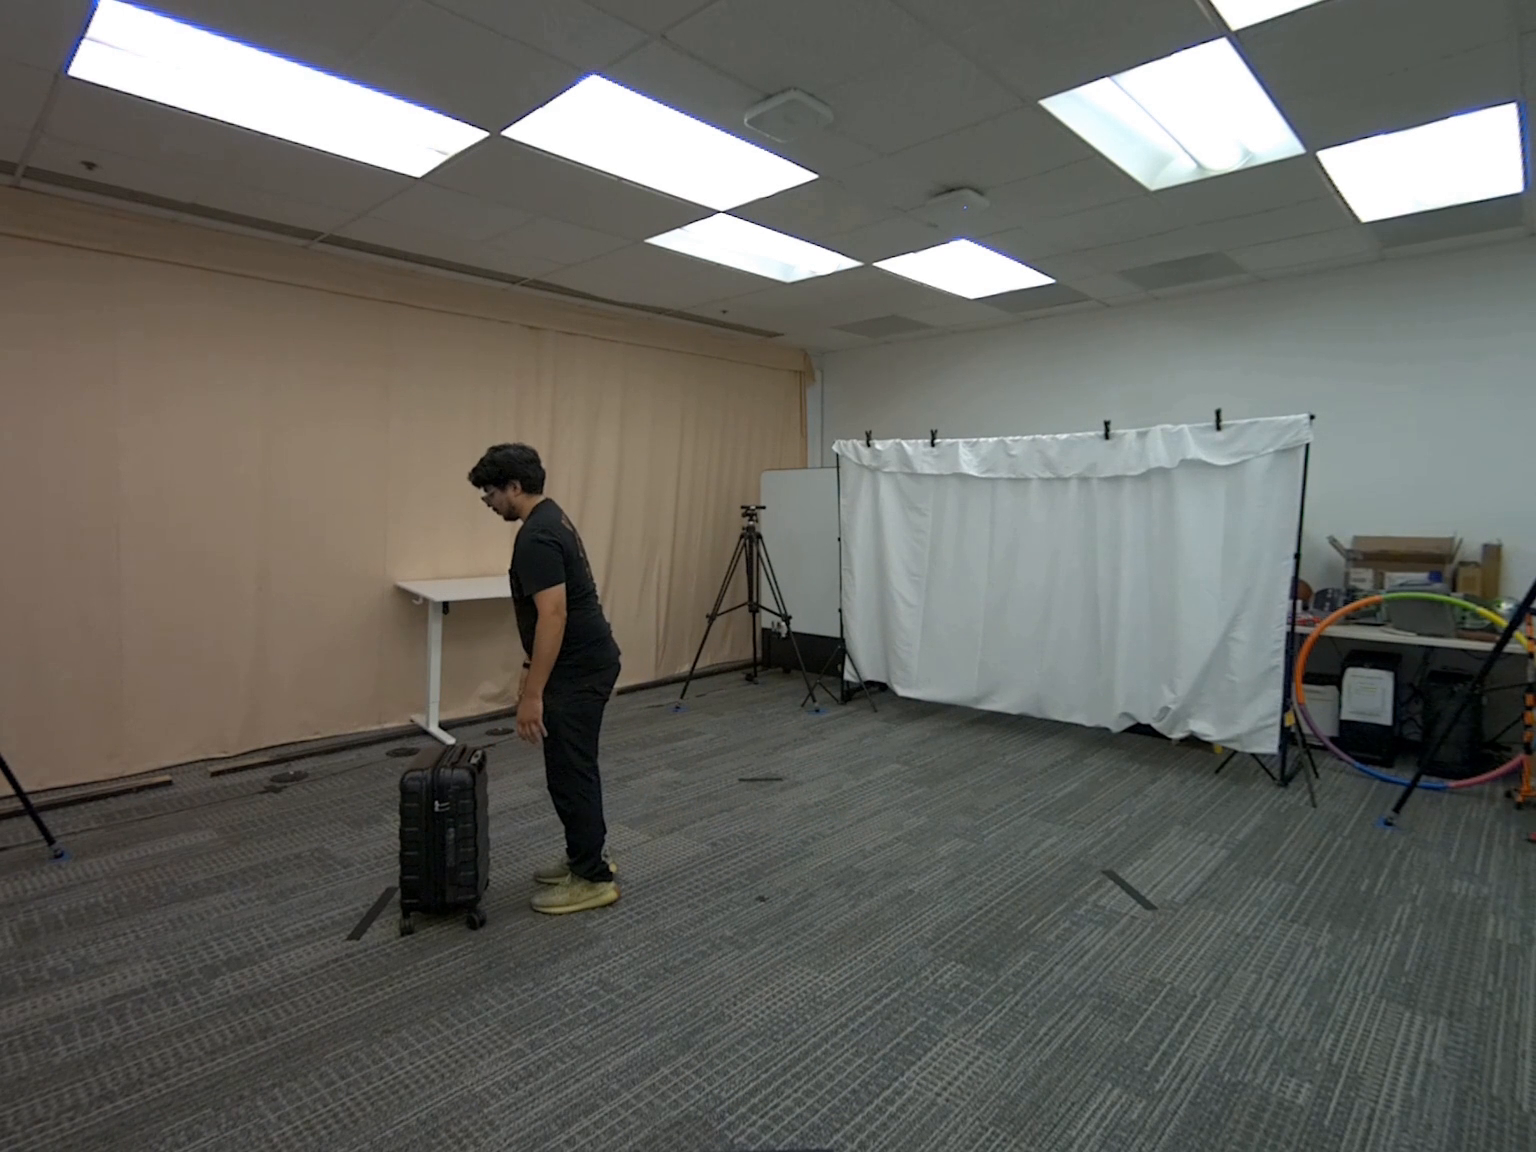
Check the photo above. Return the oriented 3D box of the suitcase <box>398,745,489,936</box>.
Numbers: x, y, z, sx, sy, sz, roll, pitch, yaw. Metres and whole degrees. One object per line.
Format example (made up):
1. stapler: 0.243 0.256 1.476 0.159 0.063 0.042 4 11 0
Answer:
1. suitcase: -1.119 0.883 2.922 0.246 0.548 0.379 -1 3 -9
